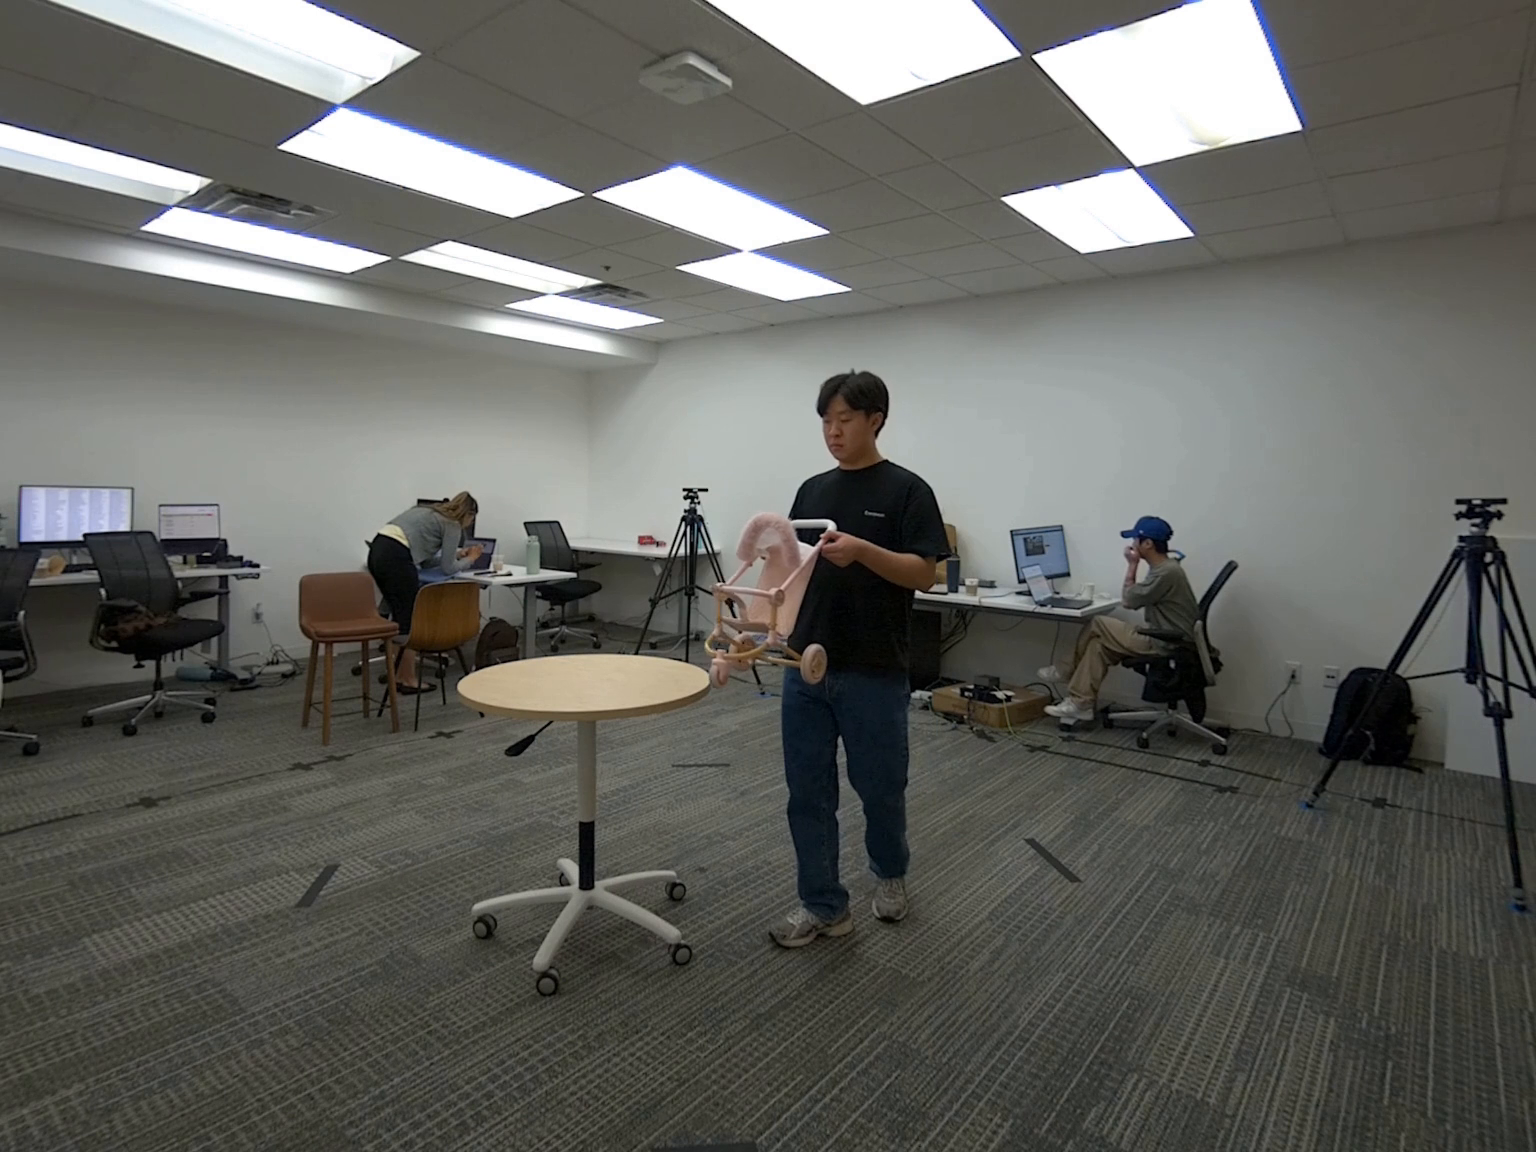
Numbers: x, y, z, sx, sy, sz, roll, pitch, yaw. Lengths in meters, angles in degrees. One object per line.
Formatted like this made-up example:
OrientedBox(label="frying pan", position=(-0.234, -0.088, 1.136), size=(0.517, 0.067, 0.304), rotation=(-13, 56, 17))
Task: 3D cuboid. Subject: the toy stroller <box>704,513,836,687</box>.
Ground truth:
OrientedBox(label="toy stroller", position=(-0.013, 0.059, 2.365), size=(0.291, 0.539, 0.328), rotation=(2, -12, 42))
